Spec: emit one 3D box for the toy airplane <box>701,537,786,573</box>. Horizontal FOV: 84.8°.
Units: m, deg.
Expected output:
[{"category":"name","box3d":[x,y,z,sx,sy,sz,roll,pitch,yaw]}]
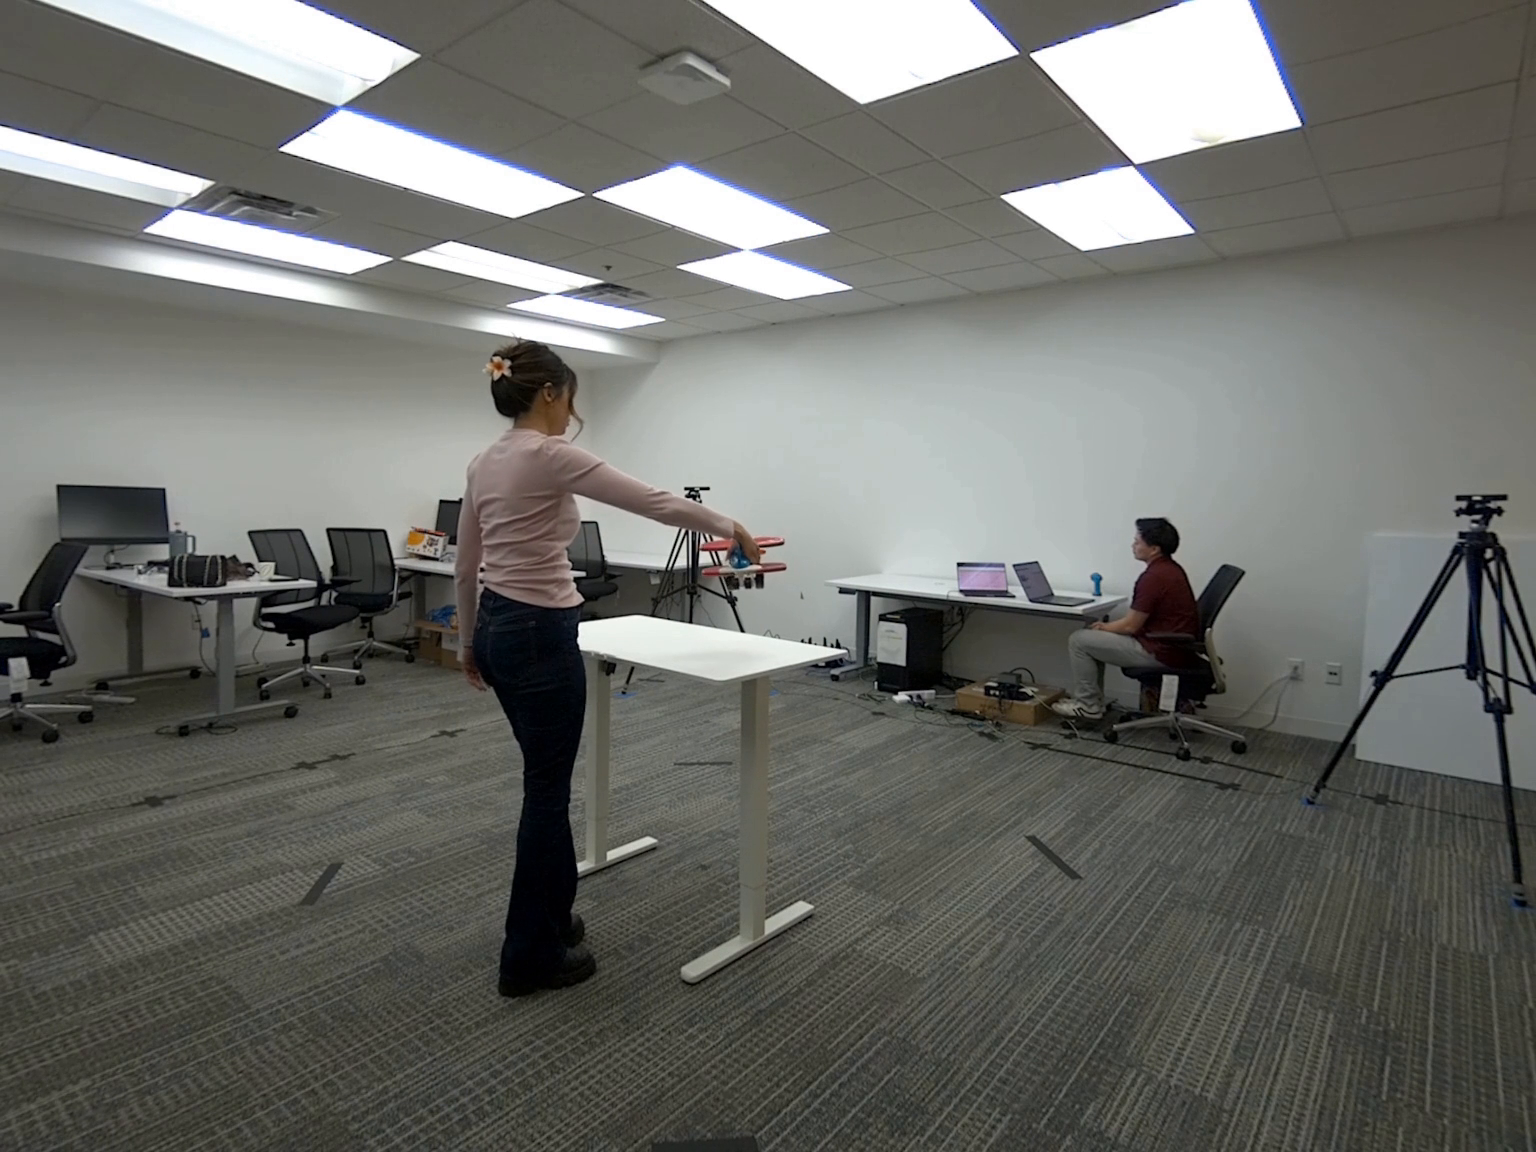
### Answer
[{"category":"toy airplane","box3d":[-0.070,-0.045,2.514,0.245,0.157,0.264,-2,-2,-24]}]
